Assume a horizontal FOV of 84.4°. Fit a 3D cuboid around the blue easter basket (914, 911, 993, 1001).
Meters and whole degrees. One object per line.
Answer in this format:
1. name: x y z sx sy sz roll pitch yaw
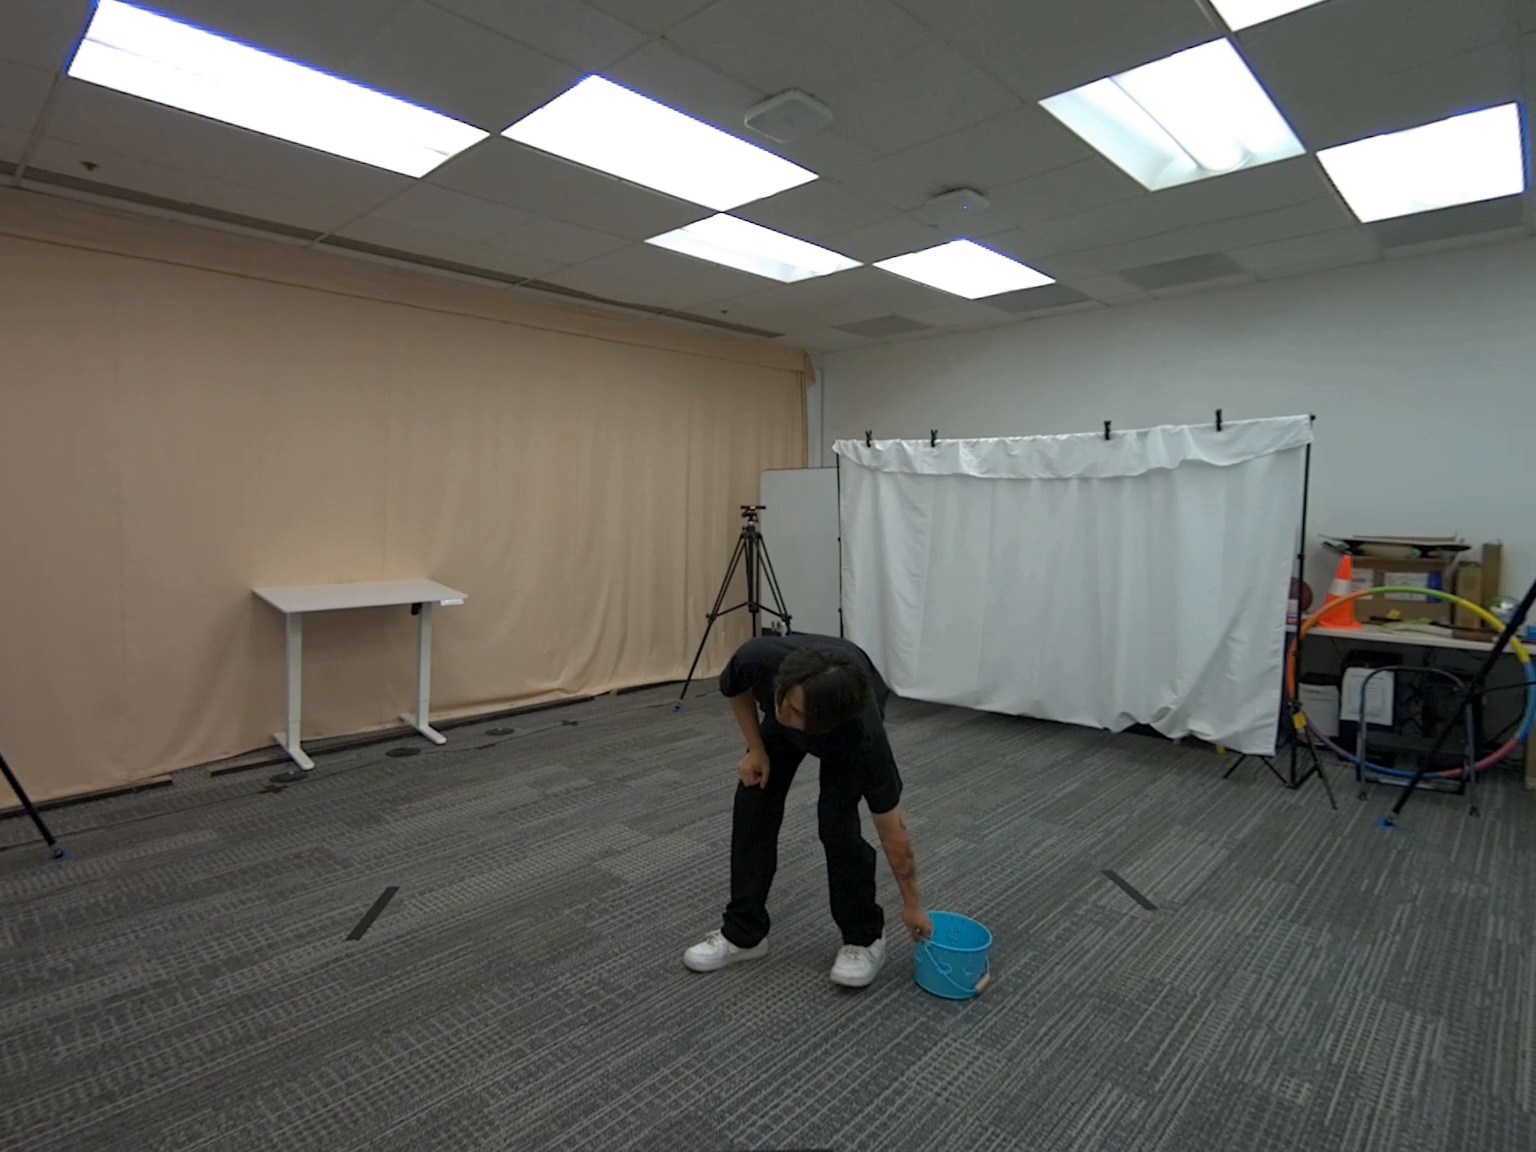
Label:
1. blue easter basket: 0.534 1.110 2.449 0.243 0.155 0.244 3 3 -2
